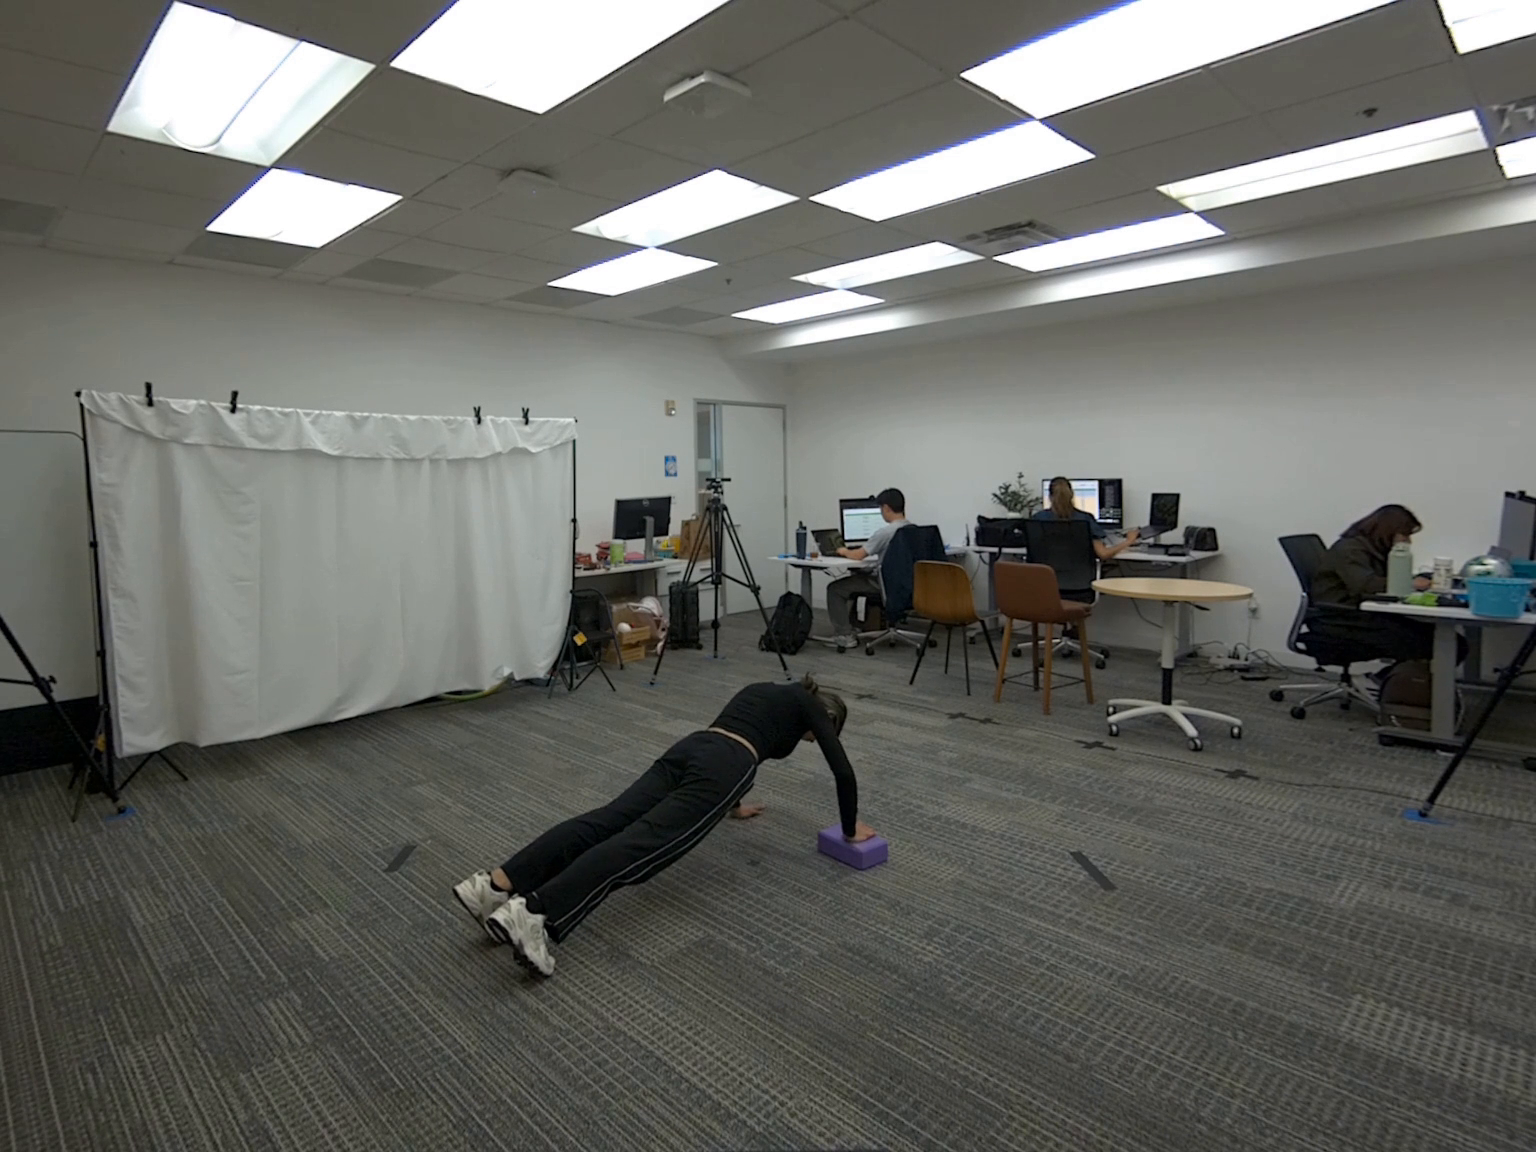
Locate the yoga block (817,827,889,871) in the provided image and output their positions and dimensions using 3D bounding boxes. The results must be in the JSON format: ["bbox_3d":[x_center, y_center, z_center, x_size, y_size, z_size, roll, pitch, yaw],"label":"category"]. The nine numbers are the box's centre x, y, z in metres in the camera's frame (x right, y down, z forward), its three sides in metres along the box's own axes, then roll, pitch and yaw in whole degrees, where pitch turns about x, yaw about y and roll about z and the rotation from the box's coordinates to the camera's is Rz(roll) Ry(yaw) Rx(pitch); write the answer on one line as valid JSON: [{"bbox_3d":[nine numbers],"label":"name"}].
[{"bbox_3d":[0.311,0.994,3.151,0.145,0.076,0.236,-5,9,-38],"label":"yoga block"}]
